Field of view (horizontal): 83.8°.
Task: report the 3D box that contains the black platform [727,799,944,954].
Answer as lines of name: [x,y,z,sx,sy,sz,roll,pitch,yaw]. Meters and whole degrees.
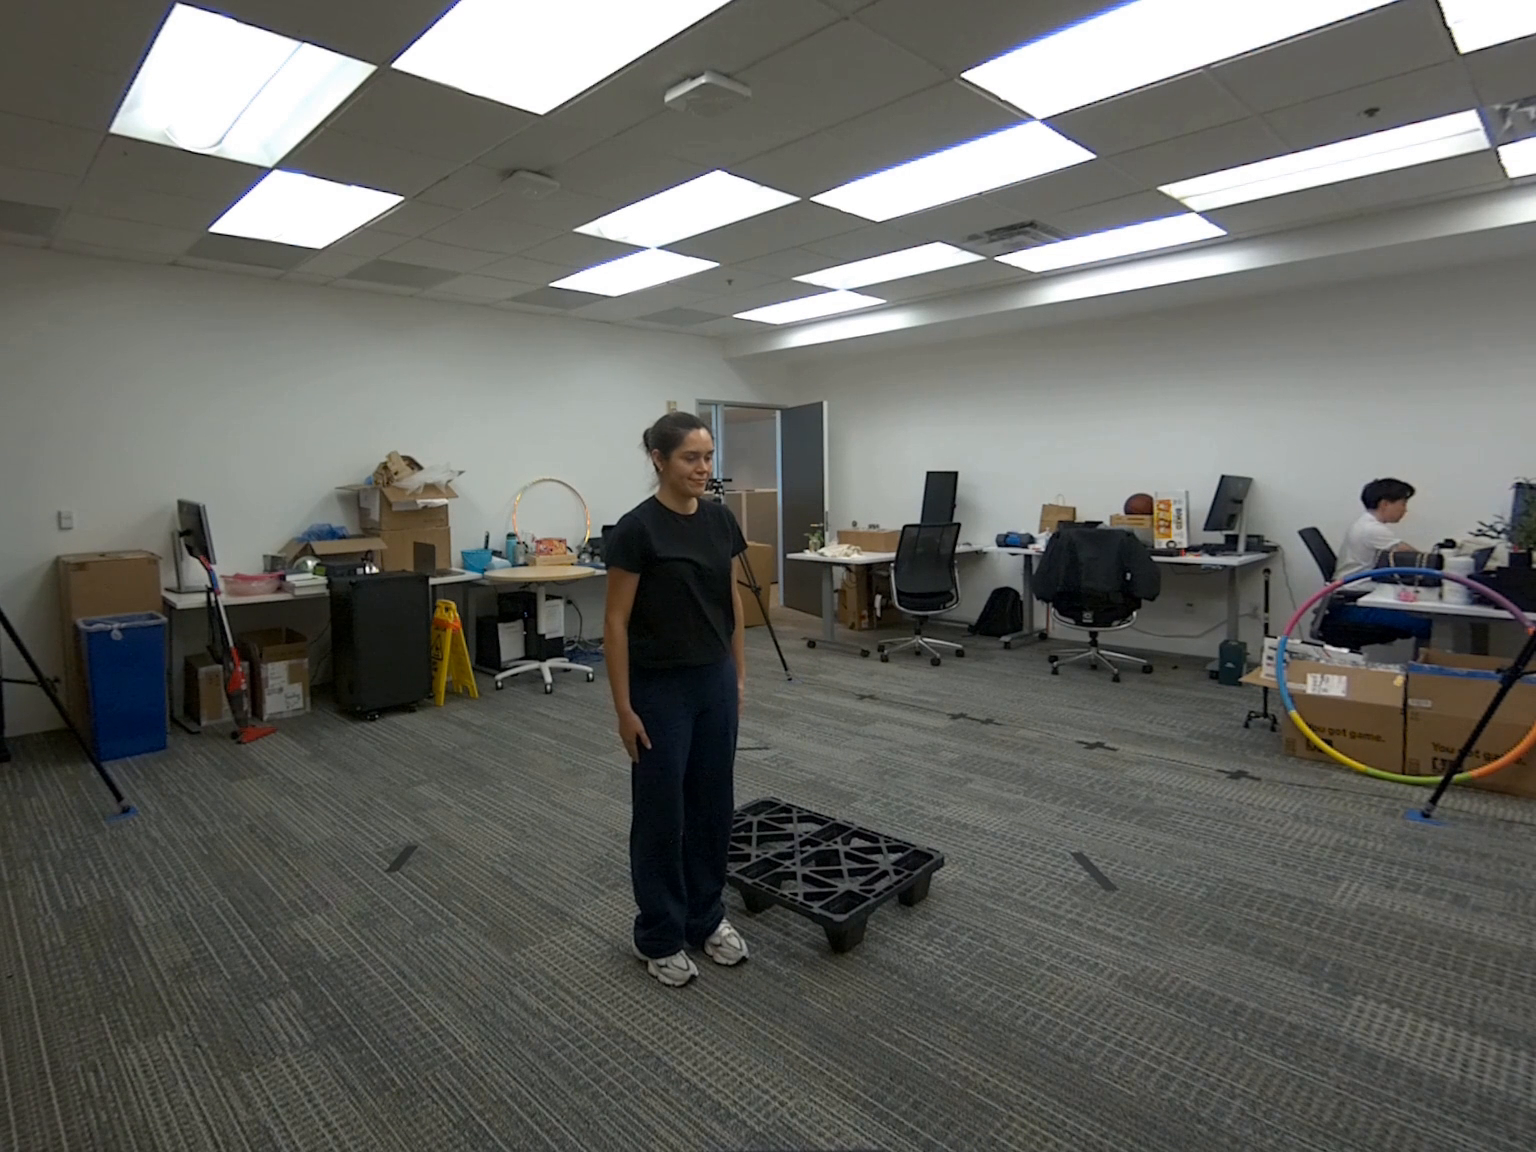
black platform: [0.102,0.996,2.930,0.830,0.142,0.590,5,9,42]
